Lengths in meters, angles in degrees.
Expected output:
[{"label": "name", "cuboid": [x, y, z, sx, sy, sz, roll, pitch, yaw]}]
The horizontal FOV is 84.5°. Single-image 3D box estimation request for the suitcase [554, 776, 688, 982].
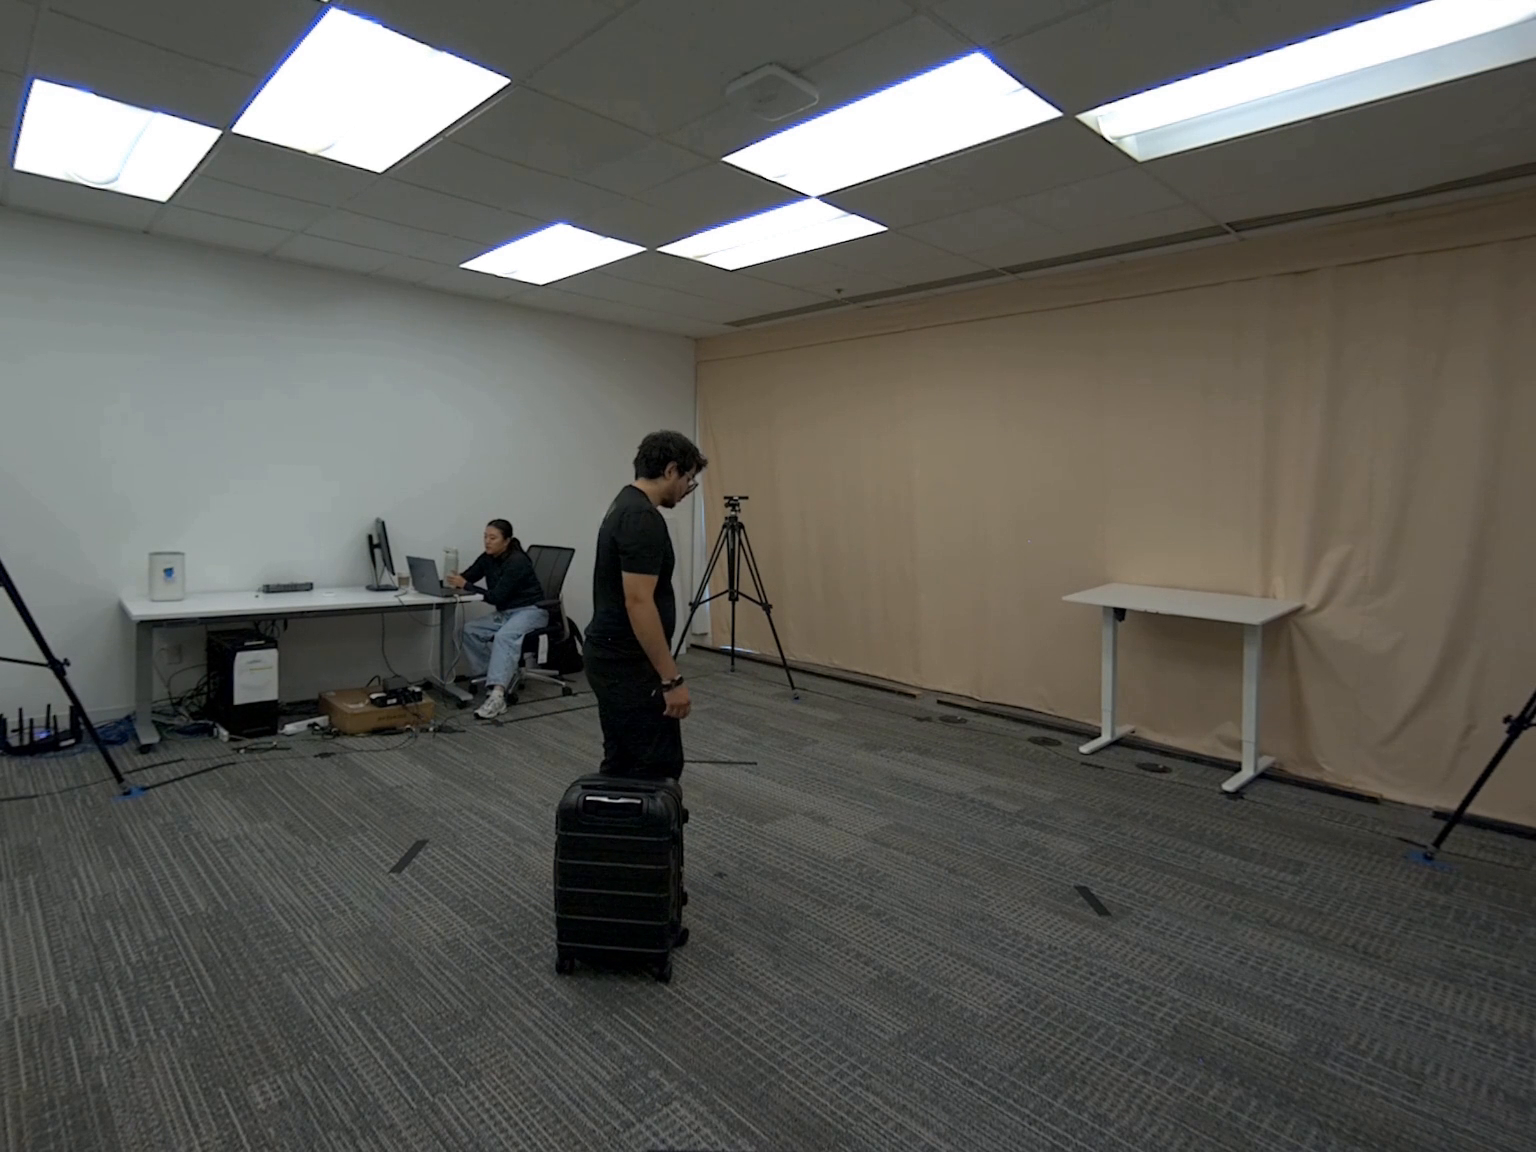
[{"label": "suitcase", "cuboid": [-0.444, 0.879, 2.504, 0.377, 0.547, 0.248, 1, 4, 6]}]
